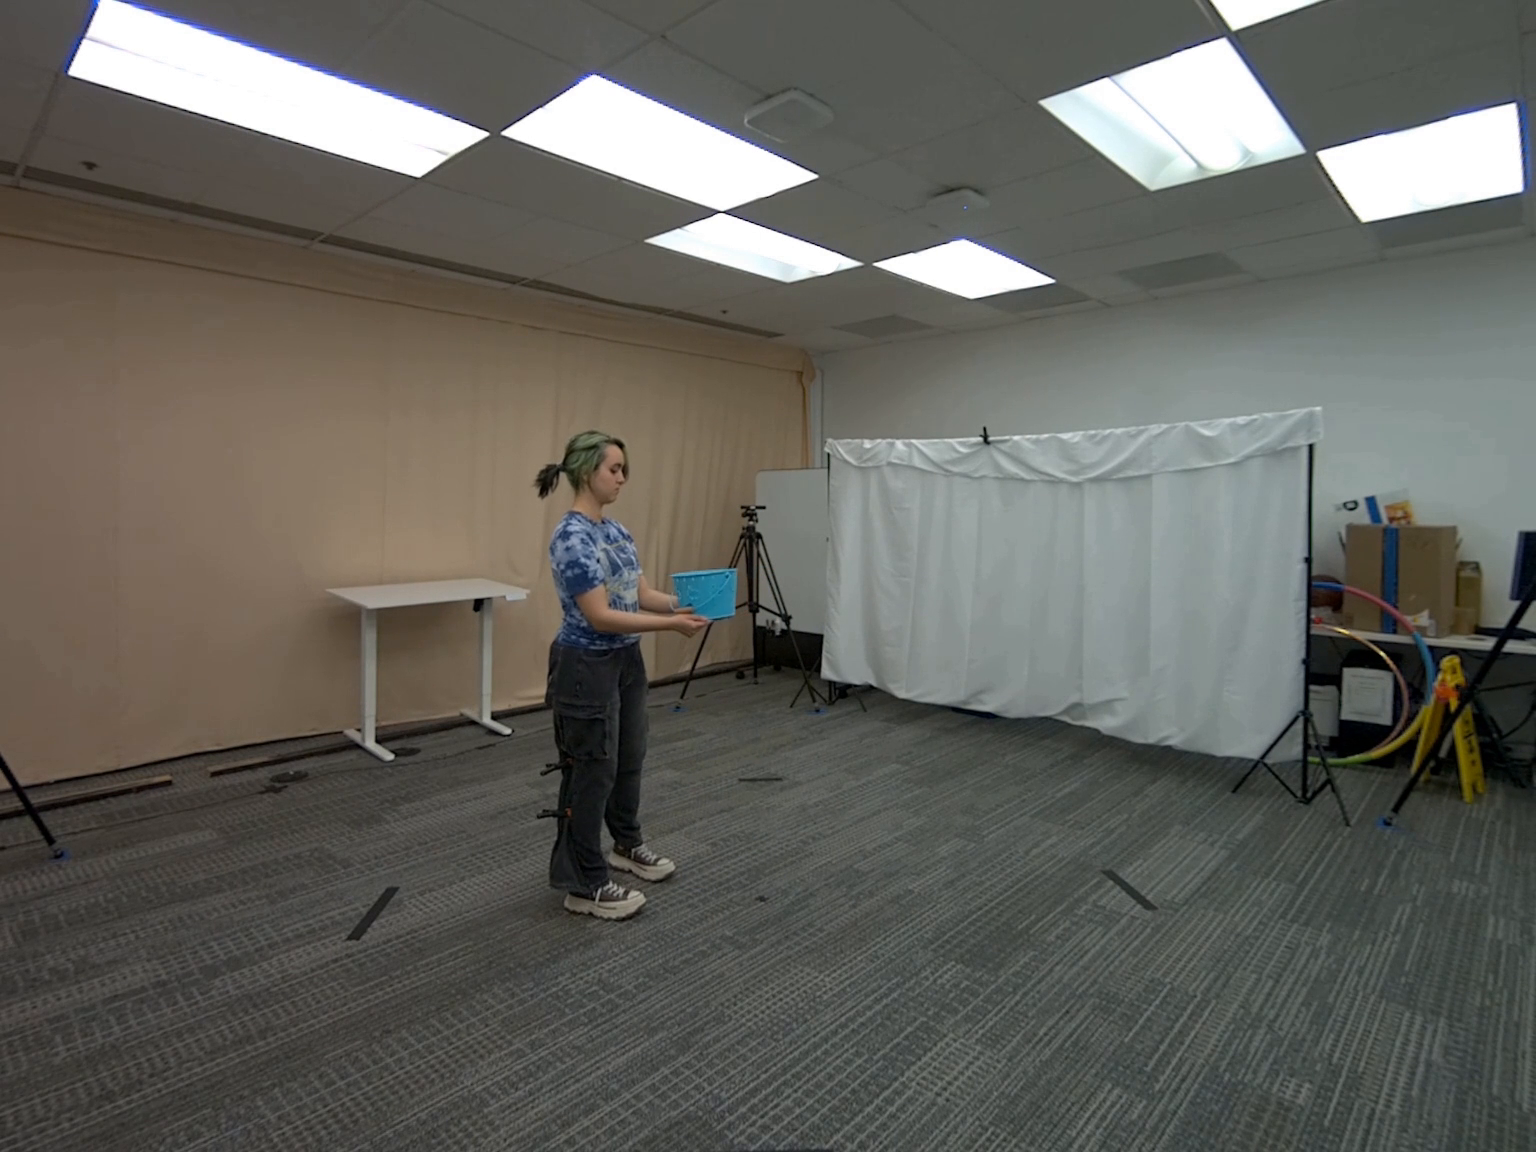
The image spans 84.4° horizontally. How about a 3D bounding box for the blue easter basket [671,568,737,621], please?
[{"bbox_3d":[-0.205,0.068,2.840,0.243,0.156,0.244,-5,2,-2],"label":"blue easter basket"}]
